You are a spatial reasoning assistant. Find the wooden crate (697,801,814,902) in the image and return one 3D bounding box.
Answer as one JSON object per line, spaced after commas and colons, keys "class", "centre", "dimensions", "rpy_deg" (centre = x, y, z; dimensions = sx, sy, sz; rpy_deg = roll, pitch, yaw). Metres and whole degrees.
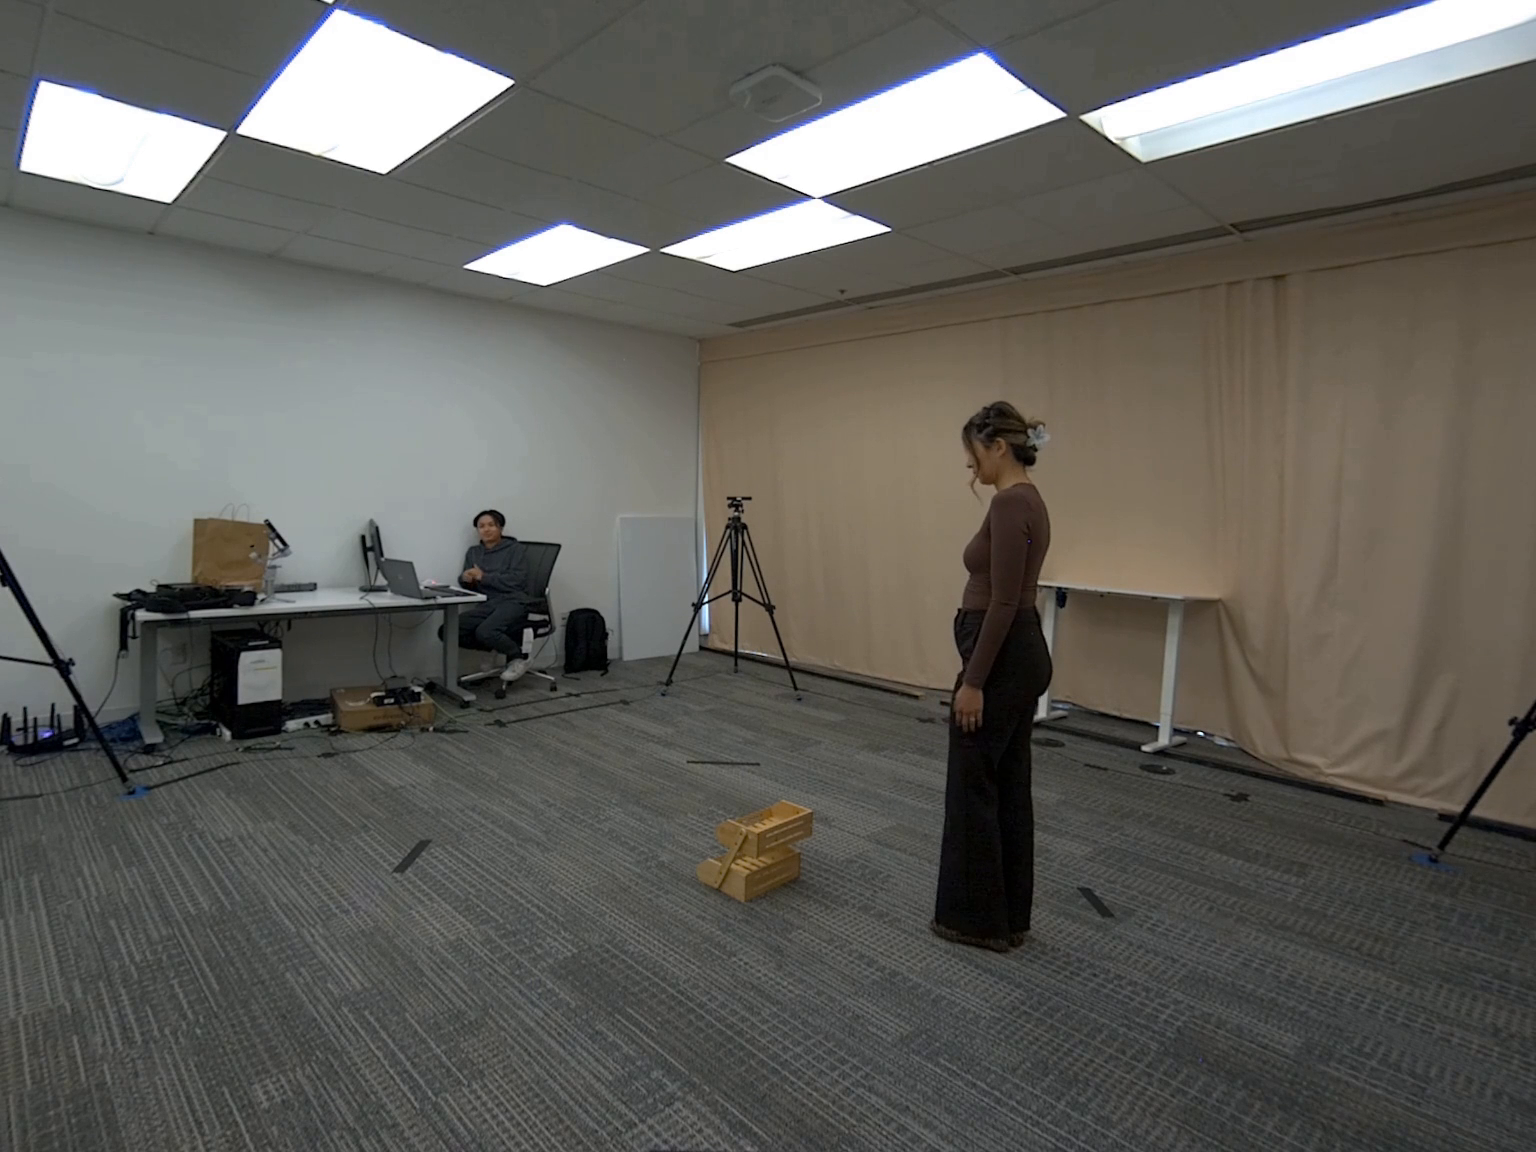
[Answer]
{"class": "wooden crate", "centre": [-0.059, 0.977, 3.071], "dimensions": [0.310, 0.272, 0.317], "rpy_deg": [5, 6, 43]}
